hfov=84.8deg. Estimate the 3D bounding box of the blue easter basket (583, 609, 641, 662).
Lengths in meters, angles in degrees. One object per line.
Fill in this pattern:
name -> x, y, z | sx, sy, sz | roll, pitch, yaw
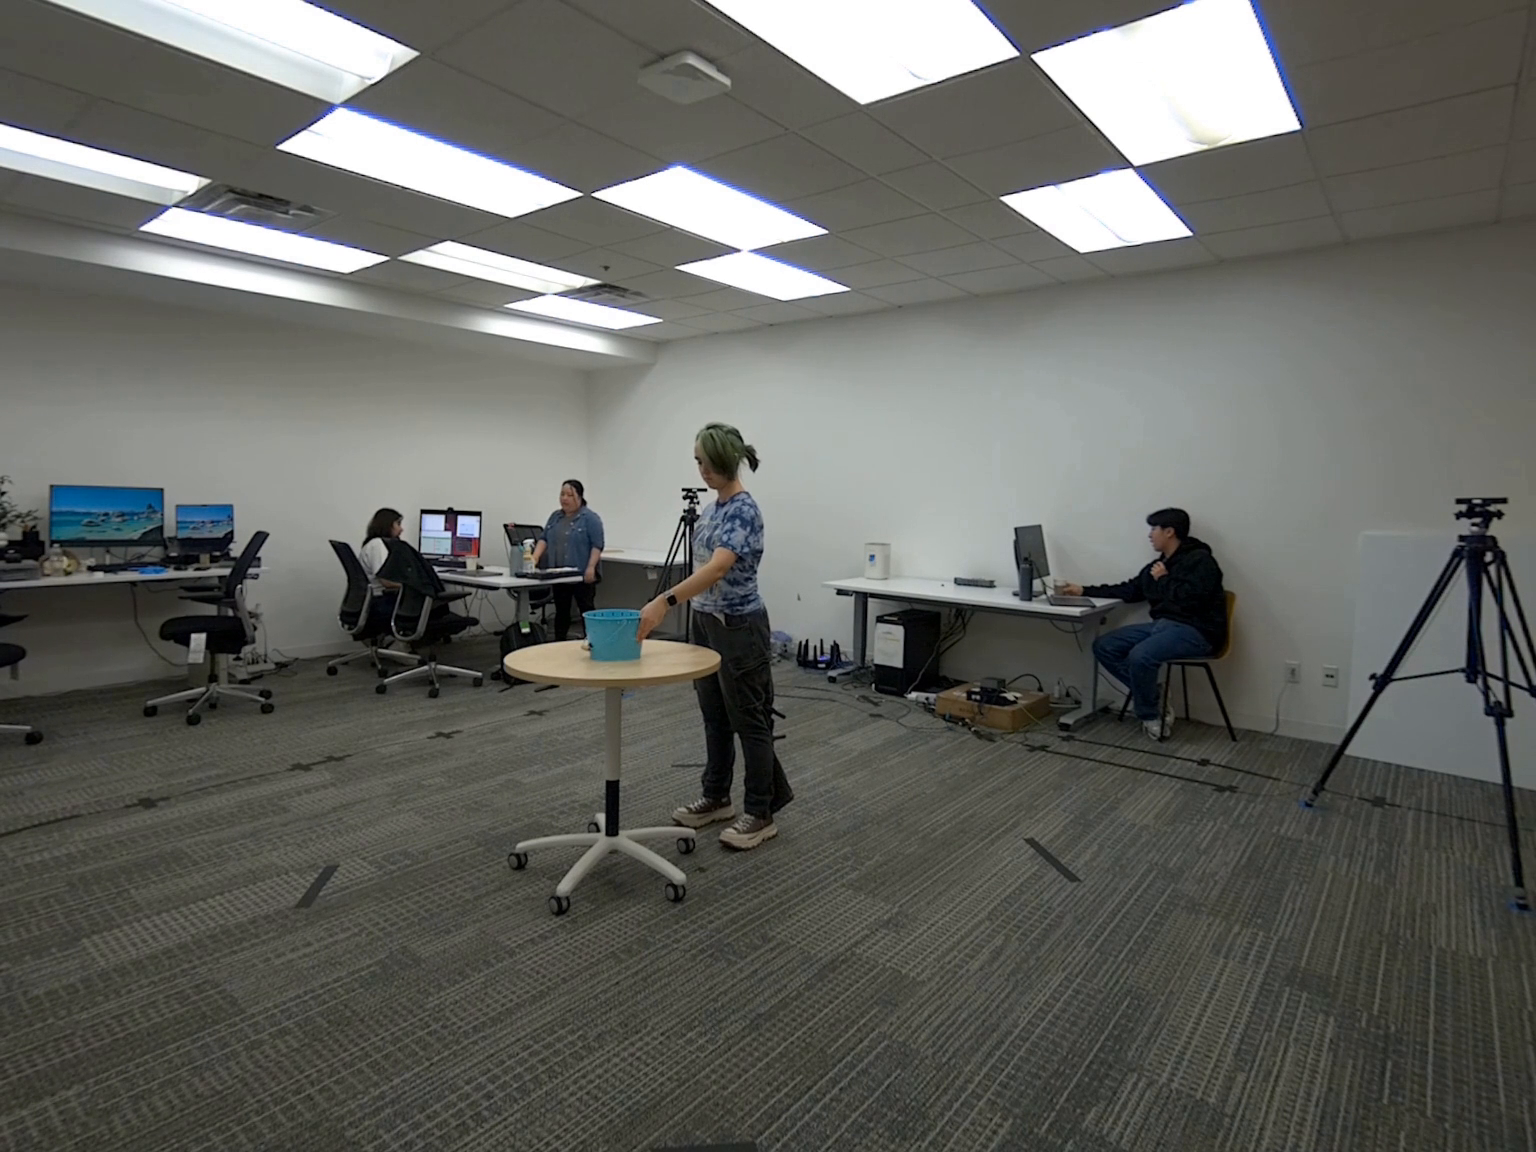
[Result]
blue easter basket -> -0.567, 0.214, 3.040 | 0.243, 0.155, 0.244 | 1, 3, -2
